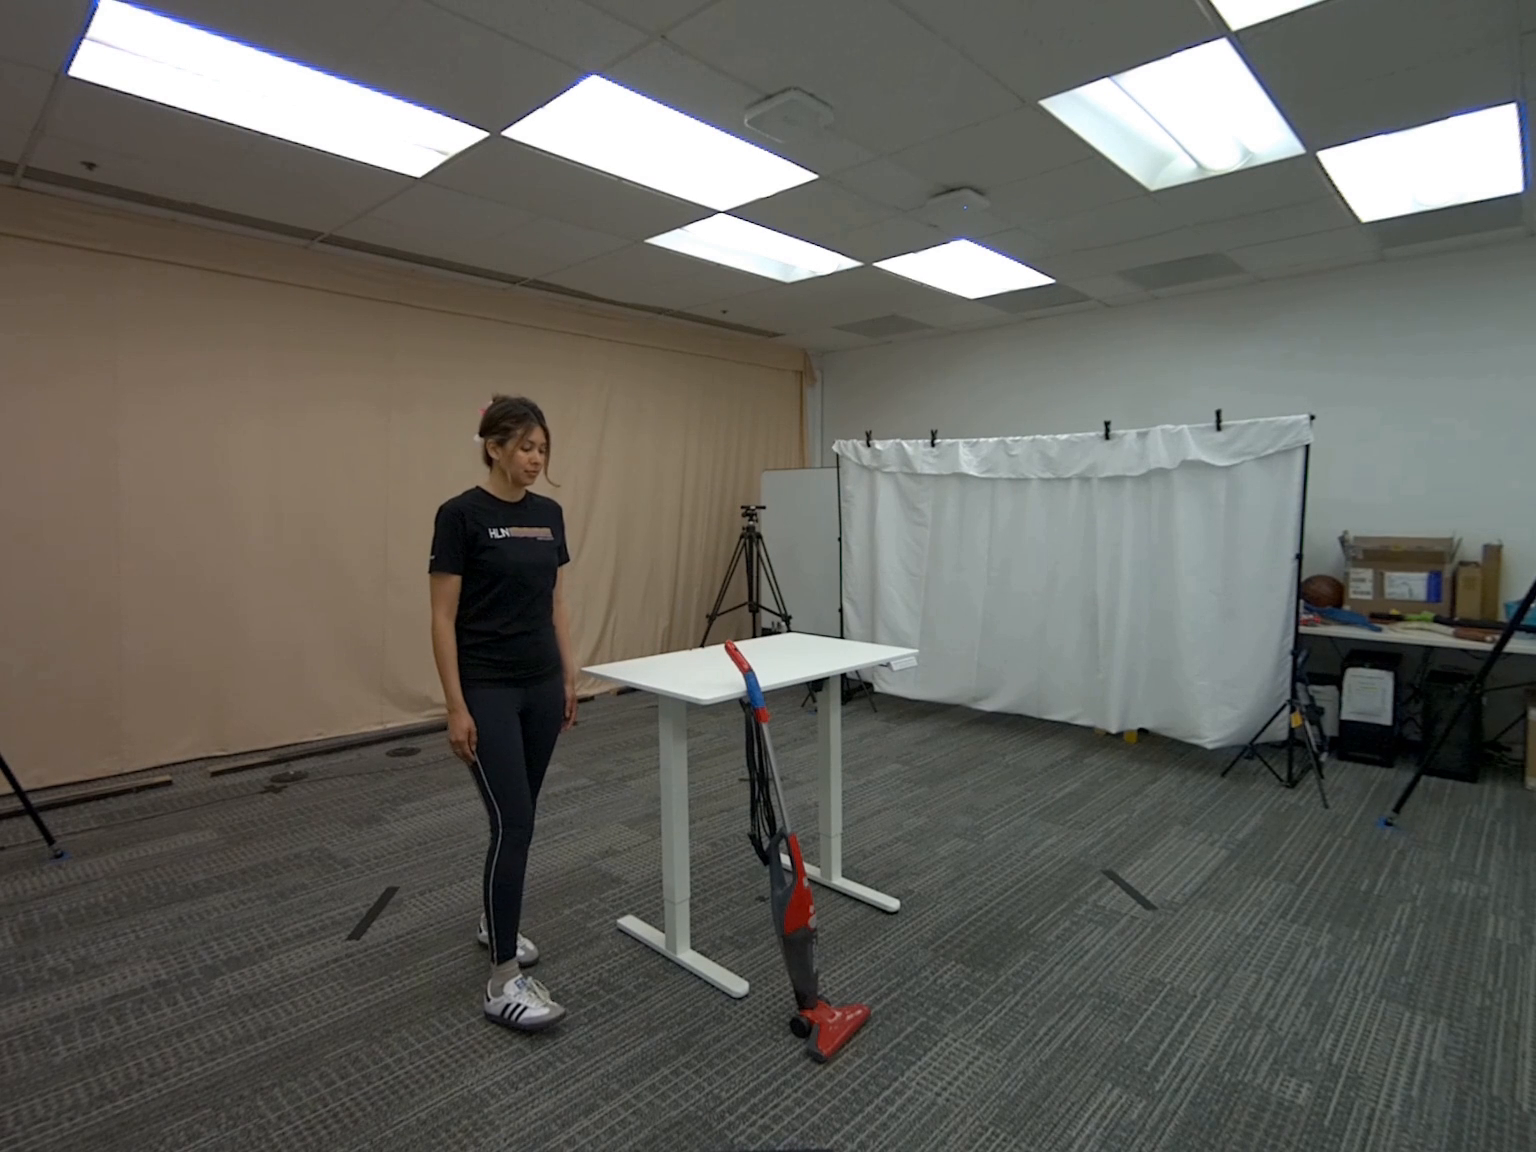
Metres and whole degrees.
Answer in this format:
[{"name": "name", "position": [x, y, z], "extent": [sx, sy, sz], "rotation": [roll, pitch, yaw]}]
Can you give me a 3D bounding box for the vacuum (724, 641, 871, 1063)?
[{"name": "vacuum", "position": [0.026, 0.707, 2.287], "extent": [0.147, 1.057, 0.245], "rotation": [-21, -10, 33]}]
